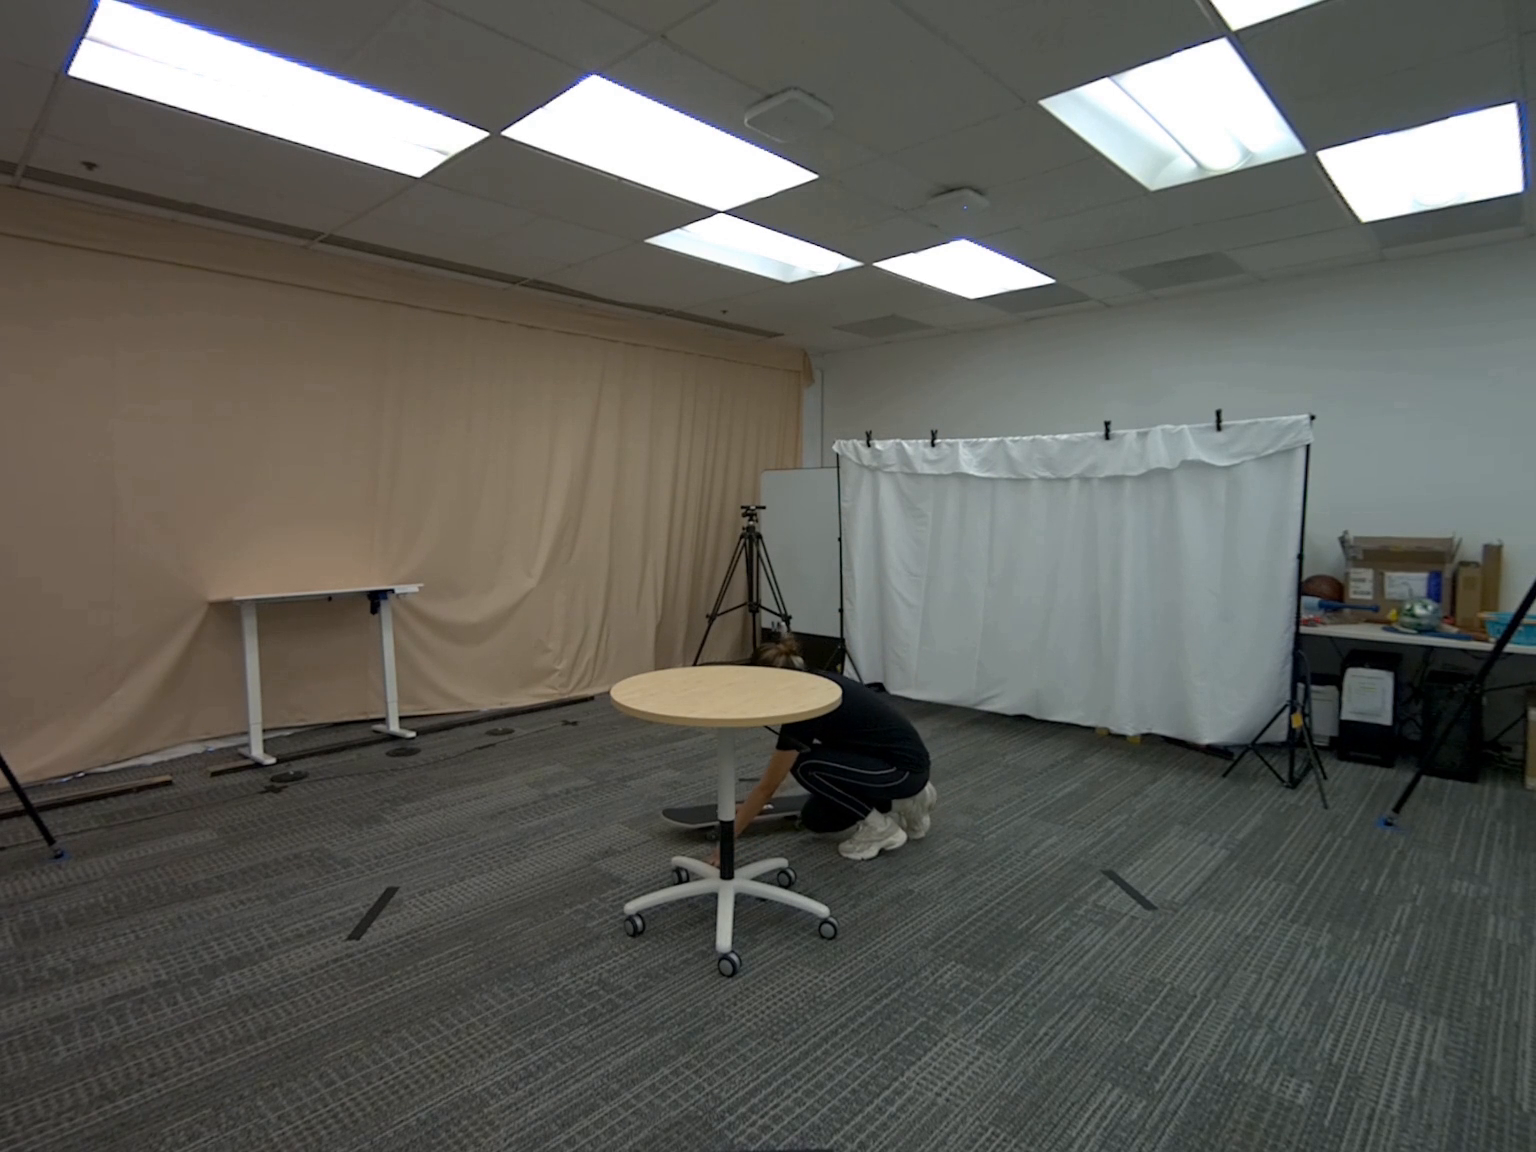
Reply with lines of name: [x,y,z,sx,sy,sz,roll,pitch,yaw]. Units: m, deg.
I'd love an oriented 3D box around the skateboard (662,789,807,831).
skateboard: [-0.081,1.037,3.632,0.770,0.110,0.197,-1,5,-19]
